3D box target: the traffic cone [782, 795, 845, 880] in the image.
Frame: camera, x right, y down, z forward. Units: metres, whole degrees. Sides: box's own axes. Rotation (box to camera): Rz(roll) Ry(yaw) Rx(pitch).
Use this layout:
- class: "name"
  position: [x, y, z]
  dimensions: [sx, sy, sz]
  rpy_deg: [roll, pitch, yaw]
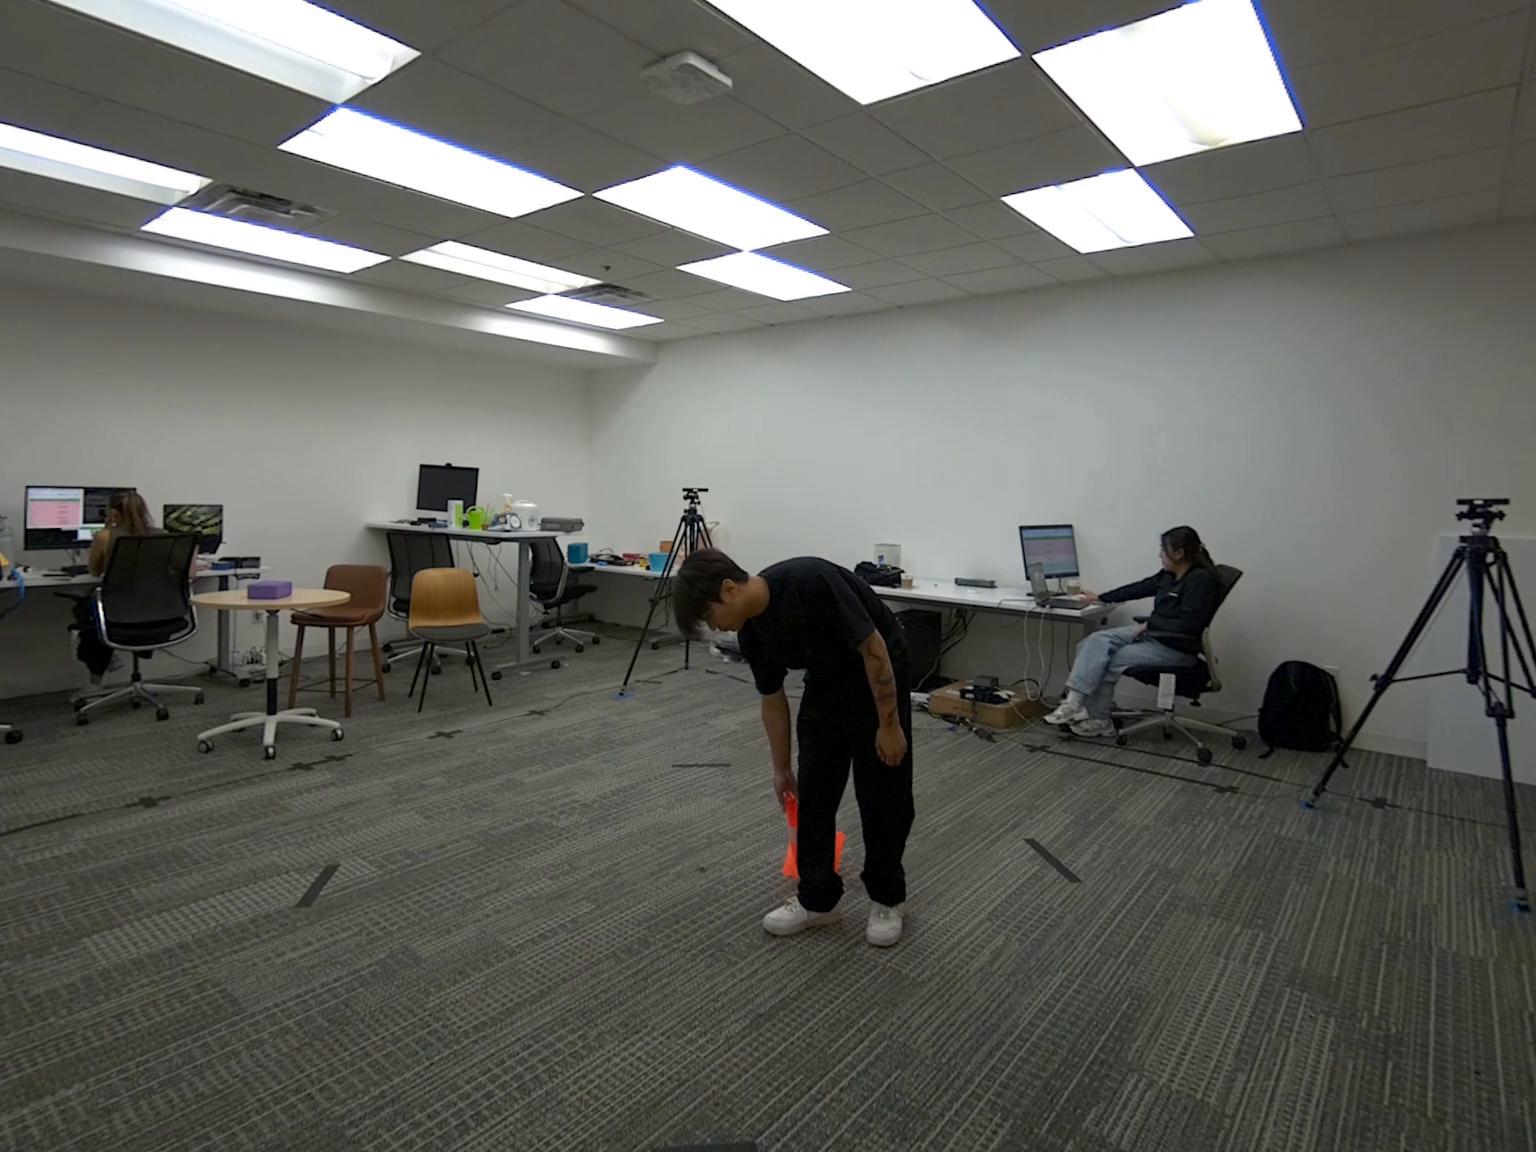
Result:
- class: "traffic cone"
  position: [0.114, 0.878, 2.988]
  dimensions: [0.208, 0.370, 0.207]
  rpy_deg: [4, 45, 23]
